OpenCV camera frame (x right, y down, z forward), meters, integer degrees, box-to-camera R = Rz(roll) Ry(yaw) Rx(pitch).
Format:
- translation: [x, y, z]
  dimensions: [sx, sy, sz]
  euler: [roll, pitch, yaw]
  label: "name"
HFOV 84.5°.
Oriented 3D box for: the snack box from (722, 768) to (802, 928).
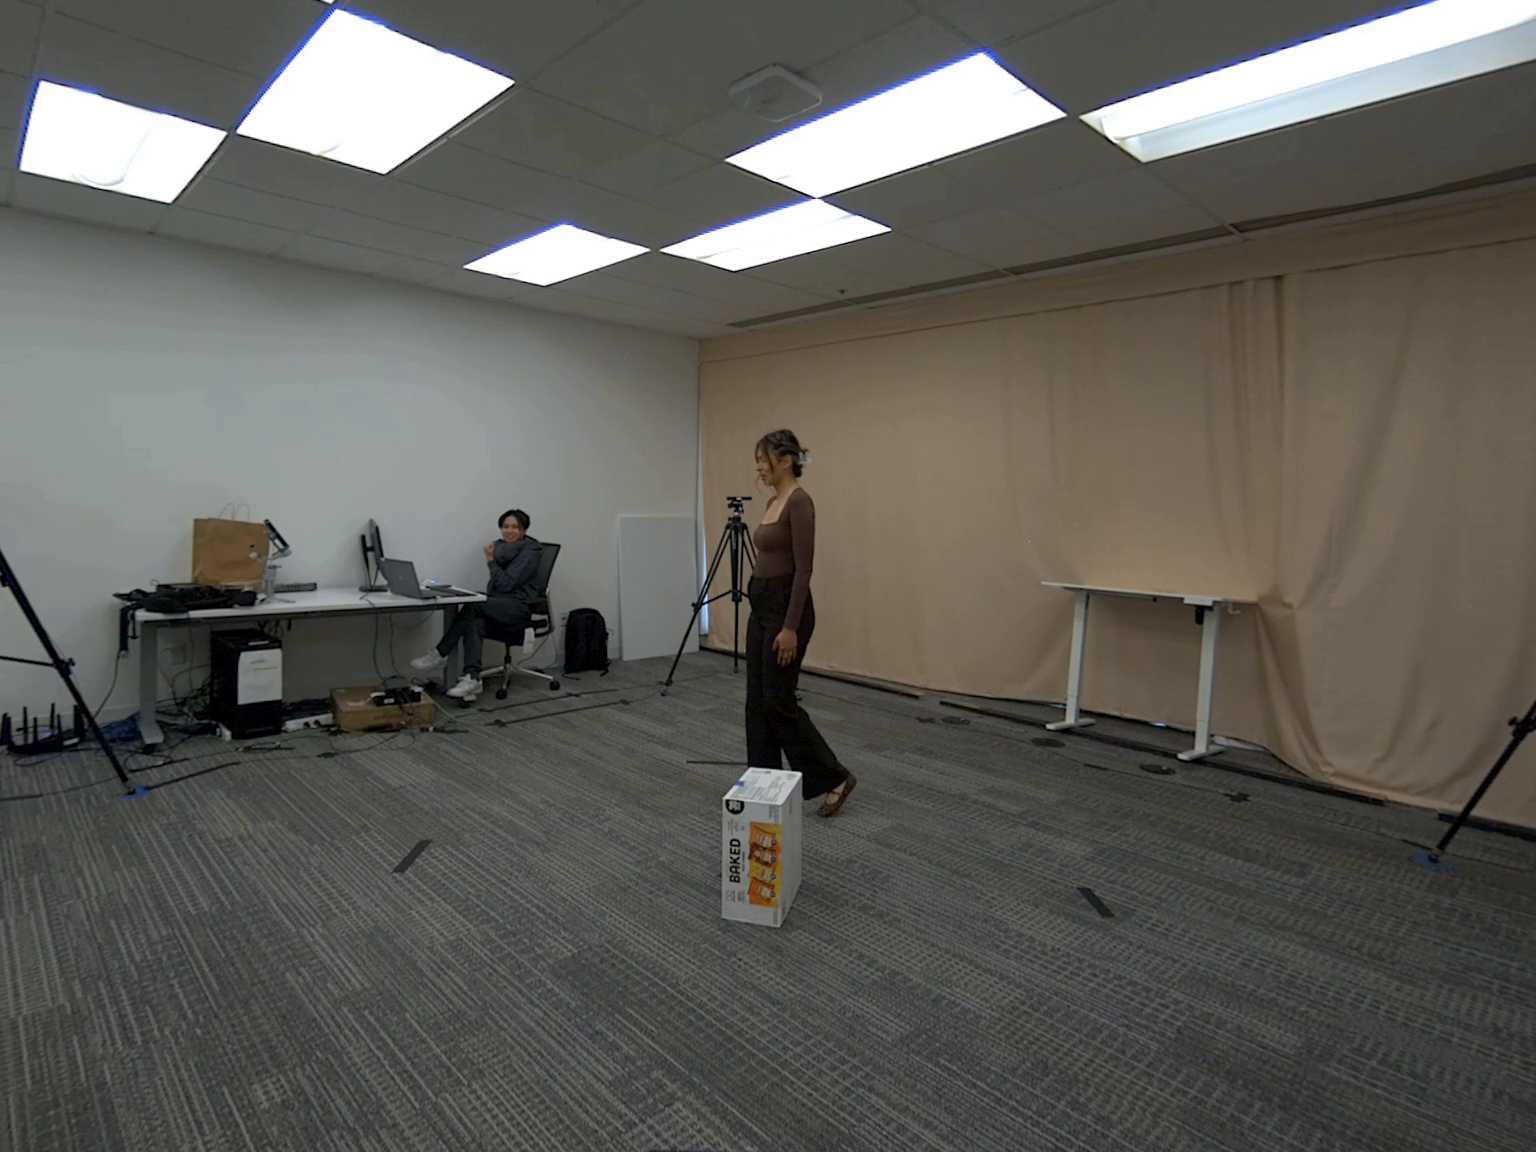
- translation: [-0.022, 0.923, 2.907]
  dimensions: [0.208, 0.404, 0.337]
  euler: [2, 3, 15]
  label: "snack box"
